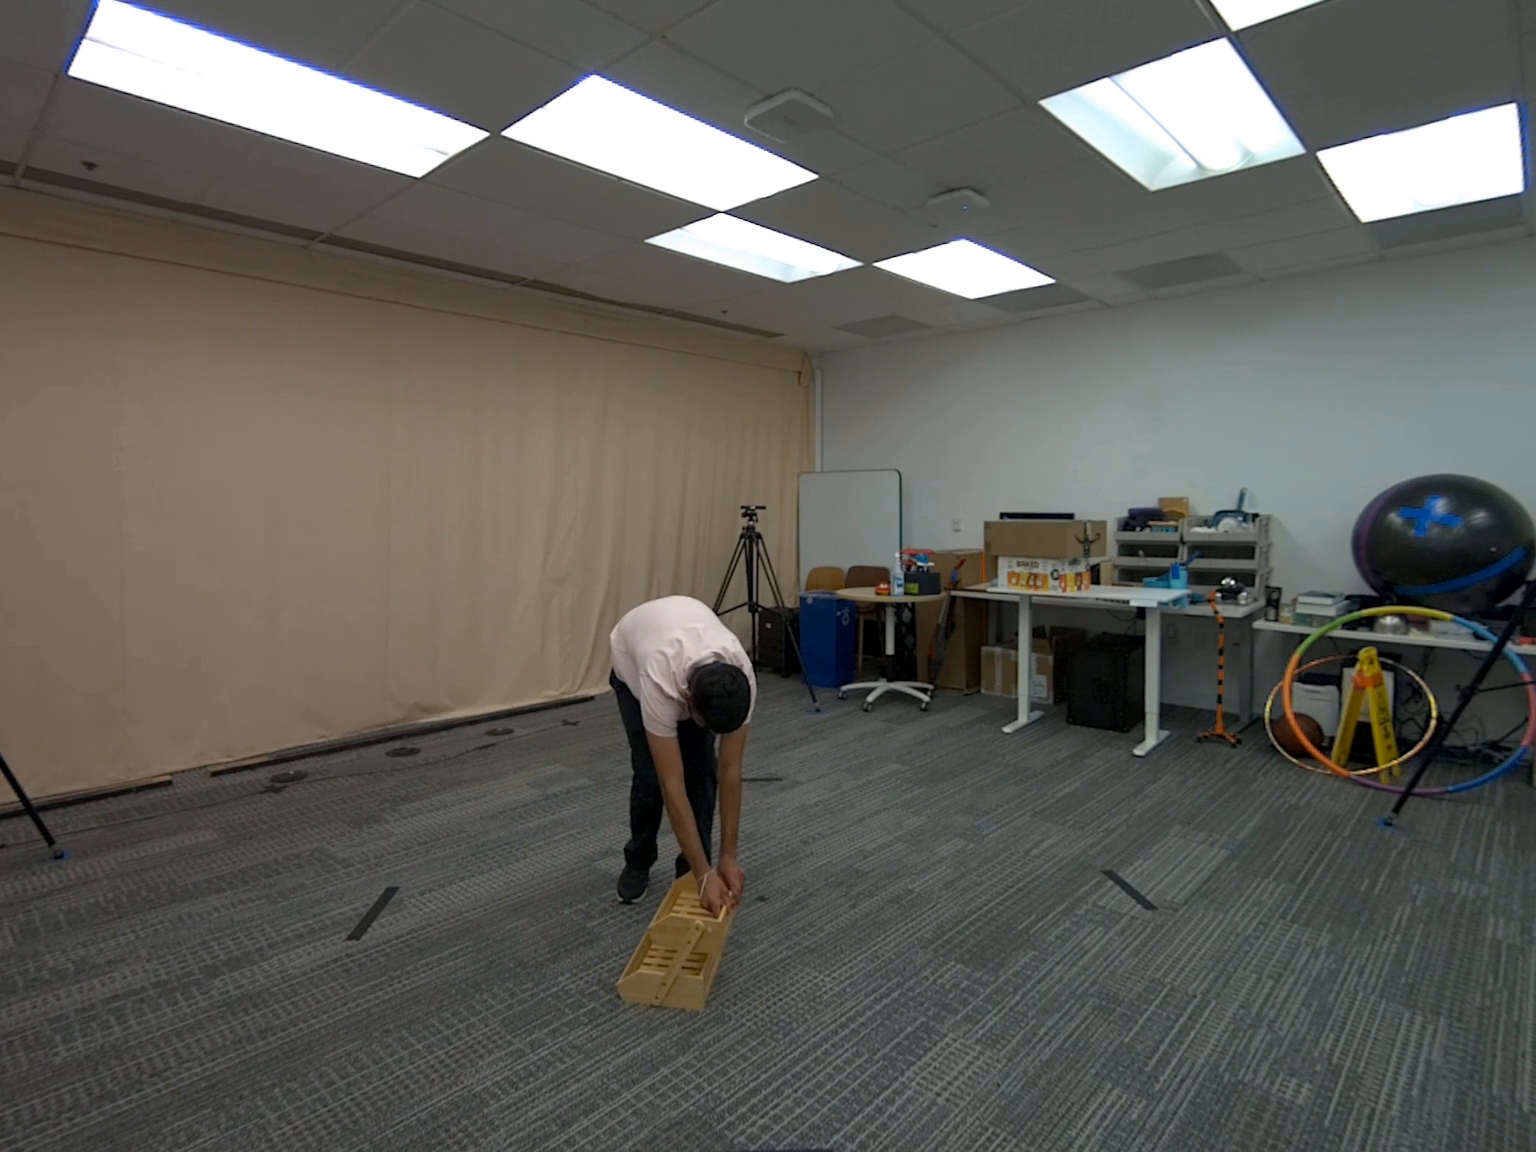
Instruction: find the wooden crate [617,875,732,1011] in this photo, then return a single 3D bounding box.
[{"bbox_3d":[-0.256,1.051,2.480,0.305,0.272,0.322,2,5,9],"label":"wooden crate"}]
